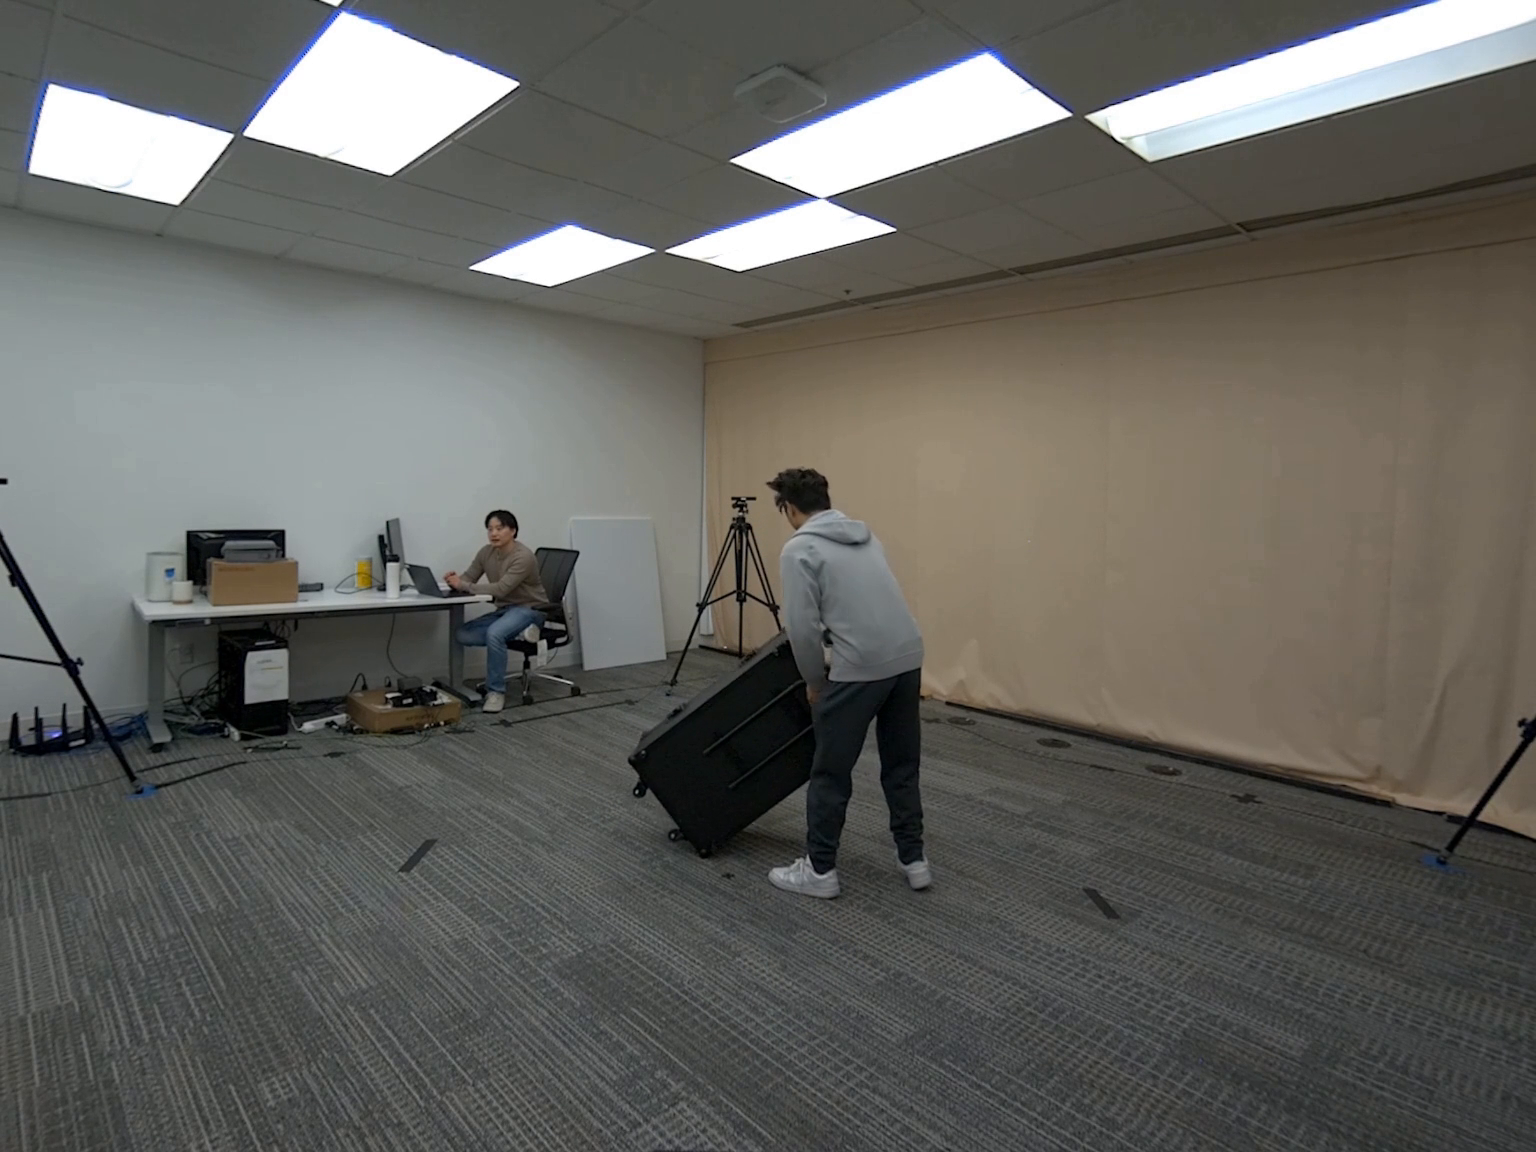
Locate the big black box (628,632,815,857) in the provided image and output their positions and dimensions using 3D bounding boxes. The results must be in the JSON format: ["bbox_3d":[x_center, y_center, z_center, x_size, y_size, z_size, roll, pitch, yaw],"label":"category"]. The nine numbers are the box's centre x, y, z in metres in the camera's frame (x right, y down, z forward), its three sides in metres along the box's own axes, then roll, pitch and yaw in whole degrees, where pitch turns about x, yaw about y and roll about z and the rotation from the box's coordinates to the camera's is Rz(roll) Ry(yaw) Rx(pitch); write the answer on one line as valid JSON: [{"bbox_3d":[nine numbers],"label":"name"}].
[{"bbox_3d":[-0.113,0.678,3.378,0.862,0.522,0.395,-37,0,7],"label":"big black box"}]
